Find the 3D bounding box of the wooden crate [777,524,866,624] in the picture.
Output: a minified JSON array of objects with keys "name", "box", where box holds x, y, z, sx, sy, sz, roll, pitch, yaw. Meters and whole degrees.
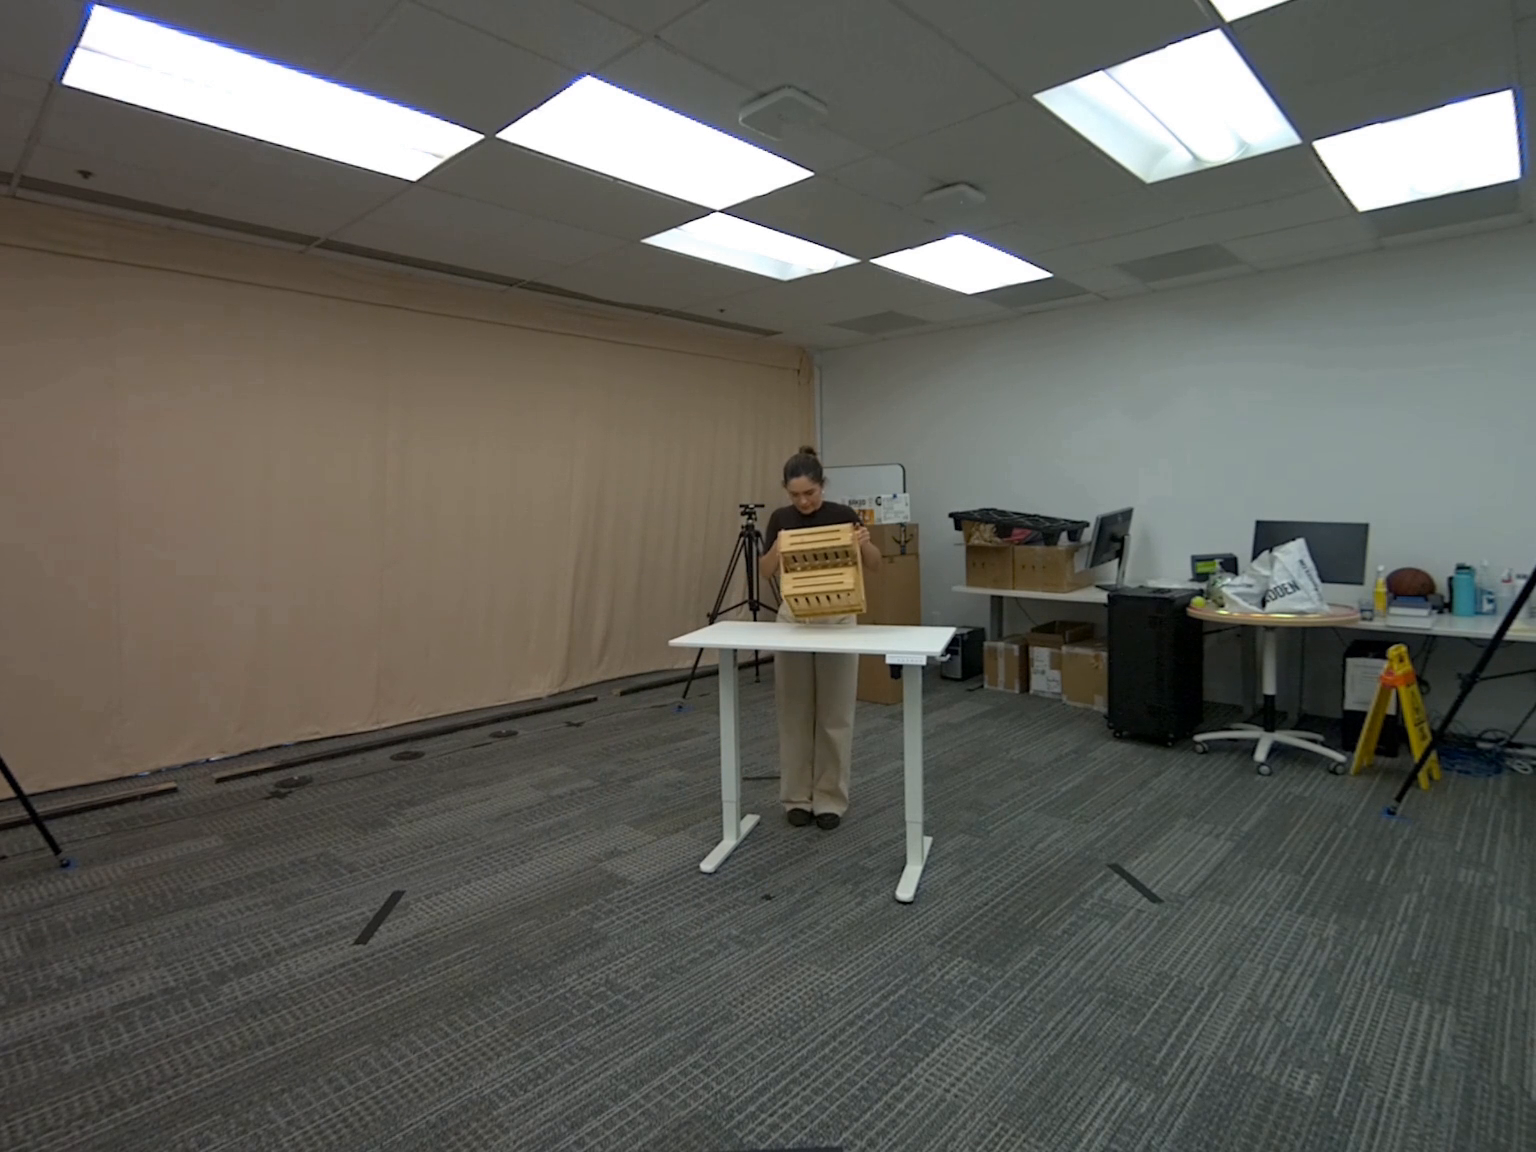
[{"name":"wooden crate","box":[0.225,-0.011,3.435,0.329,0.277,0.293,-7,-29,15]}]
